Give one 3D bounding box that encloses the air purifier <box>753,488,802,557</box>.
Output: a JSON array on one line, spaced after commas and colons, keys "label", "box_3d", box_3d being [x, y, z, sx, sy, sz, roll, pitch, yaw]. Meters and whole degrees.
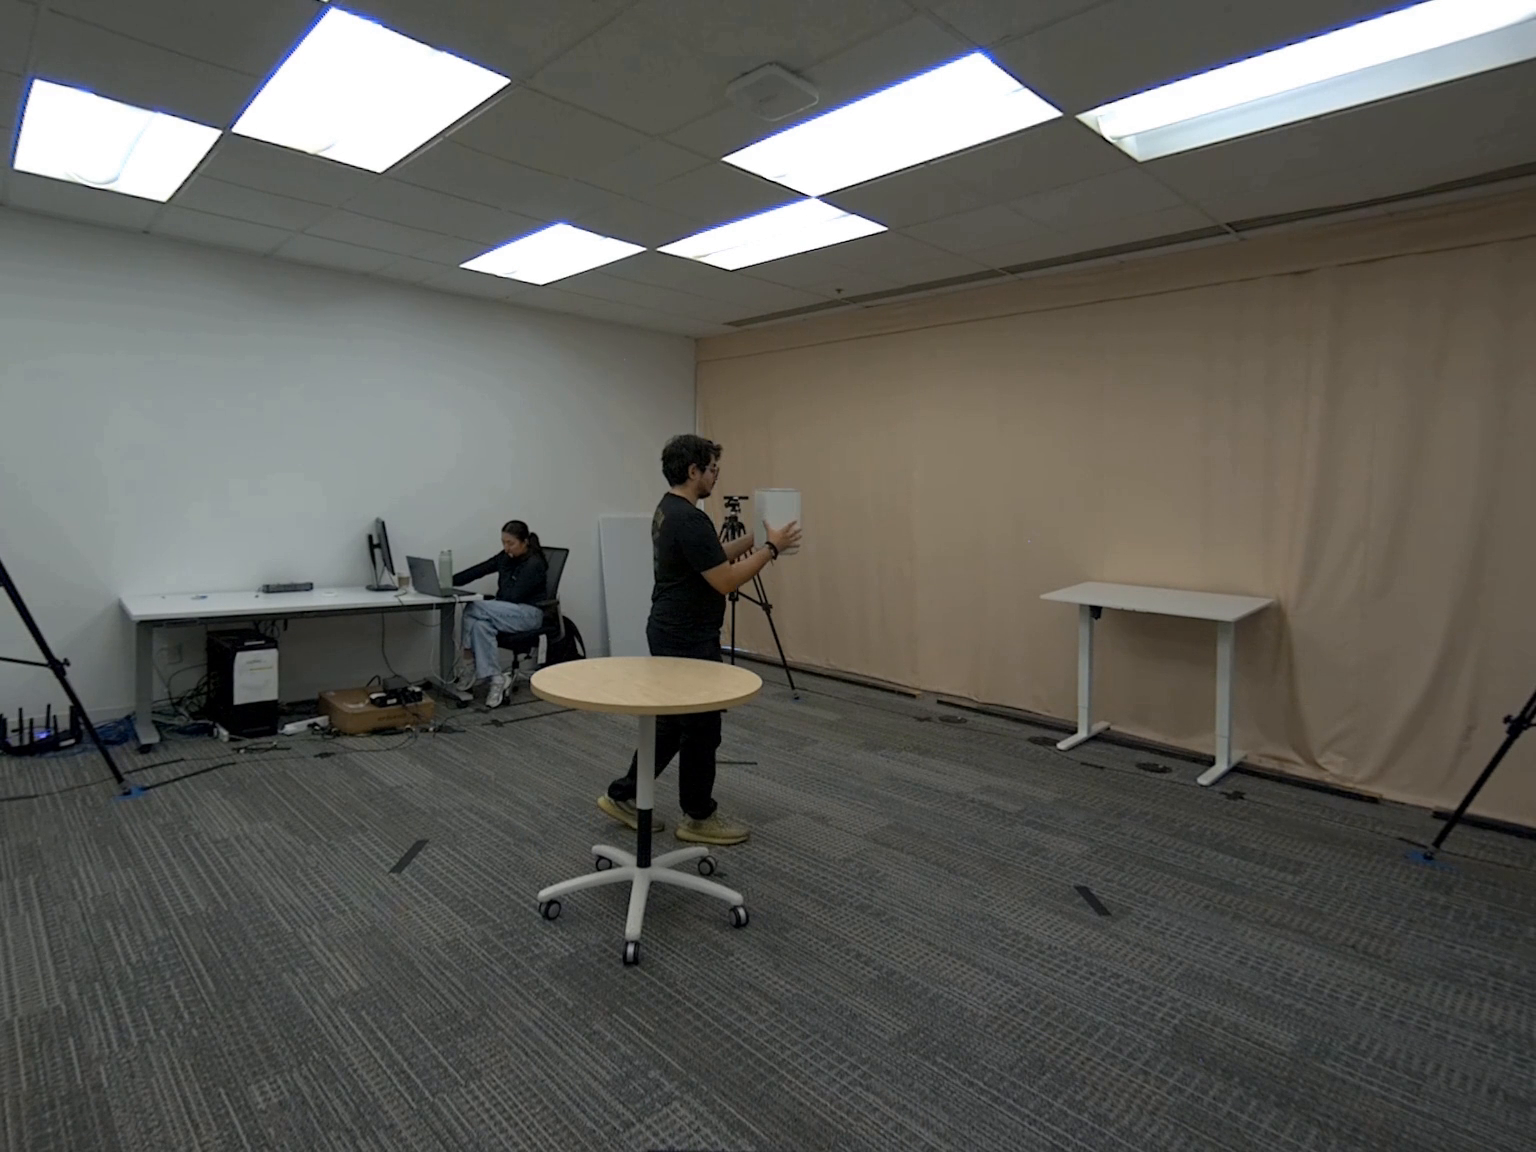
[{"label": "air purifier", "box_3d": [0.022, -0.227, 3.478, 0.169, 0.264, 0.174, -2, 6, -16]}]
